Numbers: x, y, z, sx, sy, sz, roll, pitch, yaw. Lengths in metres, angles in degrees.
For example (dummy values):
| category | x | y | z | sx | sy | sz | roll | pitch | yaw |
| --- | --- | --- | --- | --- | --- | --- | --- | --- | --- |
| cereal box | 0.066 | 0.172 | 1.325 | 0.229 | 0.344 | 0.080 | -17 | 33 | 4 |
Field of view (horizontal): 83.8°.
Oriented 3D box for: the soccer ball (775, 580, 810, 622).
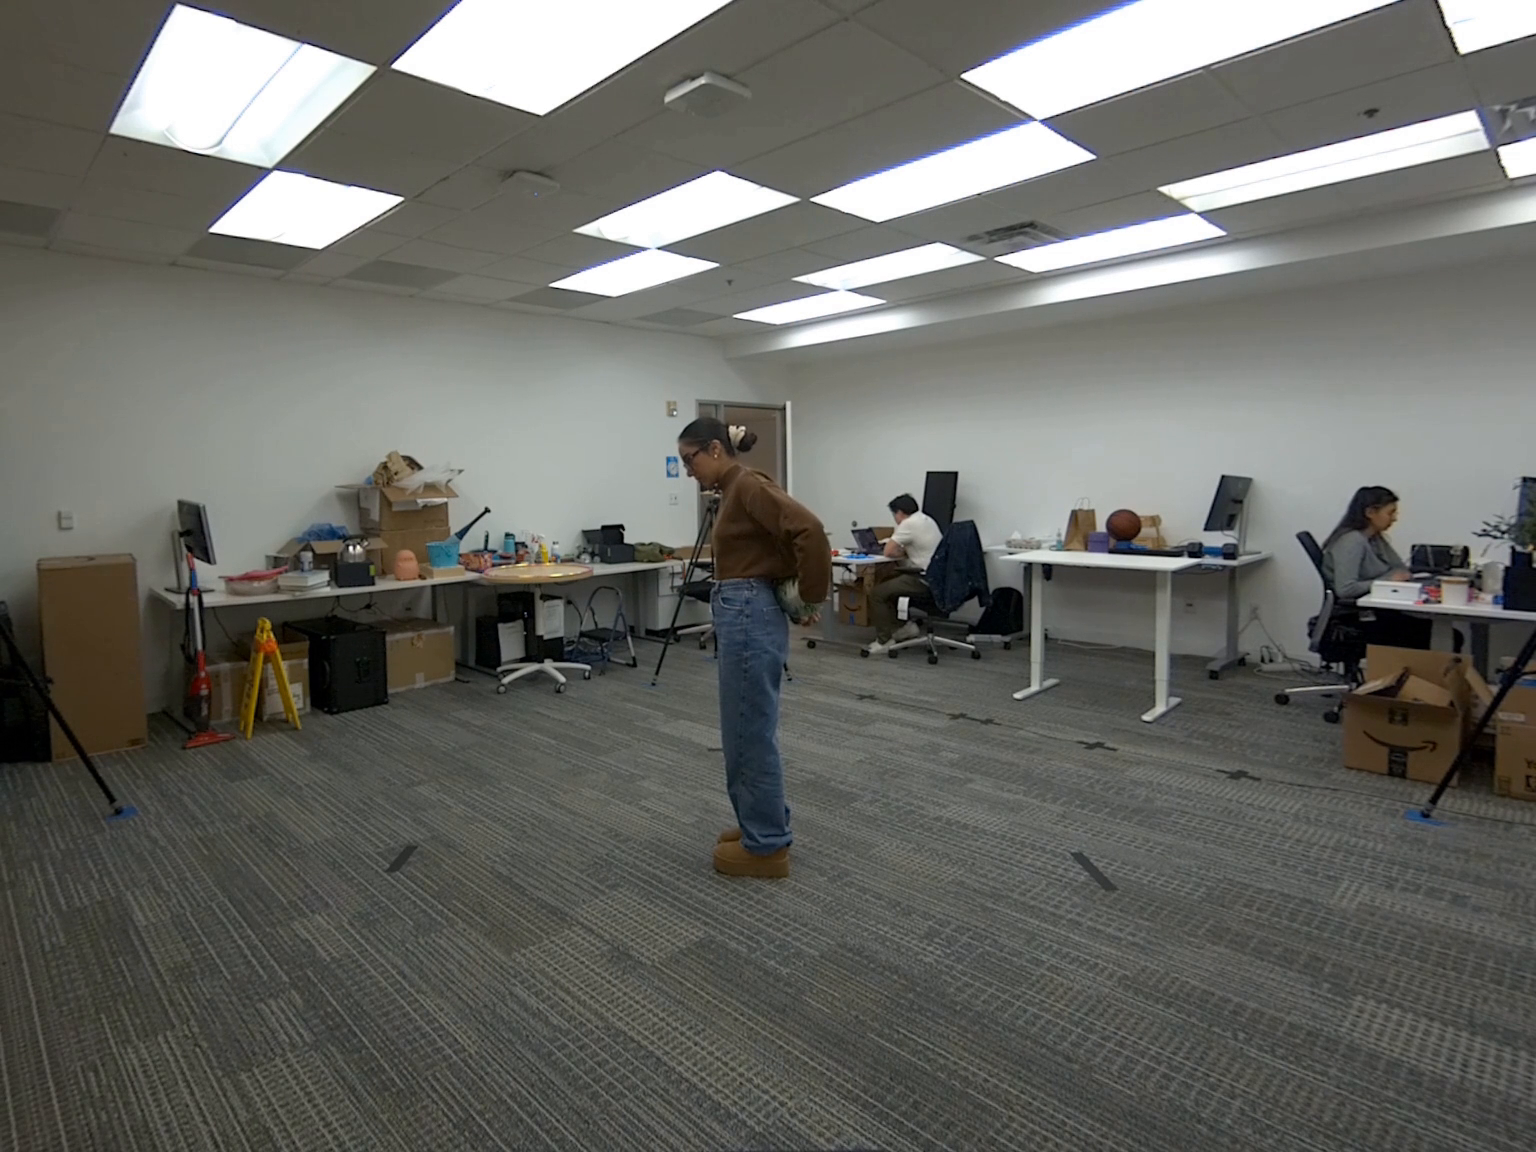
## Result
| category | x | y | z | sx | sy | sz | roll | pitch | yaw |
| --- | --- | --- | --- | --- | --- | --- | --- | --- | --- |
| soccer ball | 0.108 | 0.056 | 3.013 | 0.187 | 0.187 | 0.188 | -1 | 5 | -2 |
